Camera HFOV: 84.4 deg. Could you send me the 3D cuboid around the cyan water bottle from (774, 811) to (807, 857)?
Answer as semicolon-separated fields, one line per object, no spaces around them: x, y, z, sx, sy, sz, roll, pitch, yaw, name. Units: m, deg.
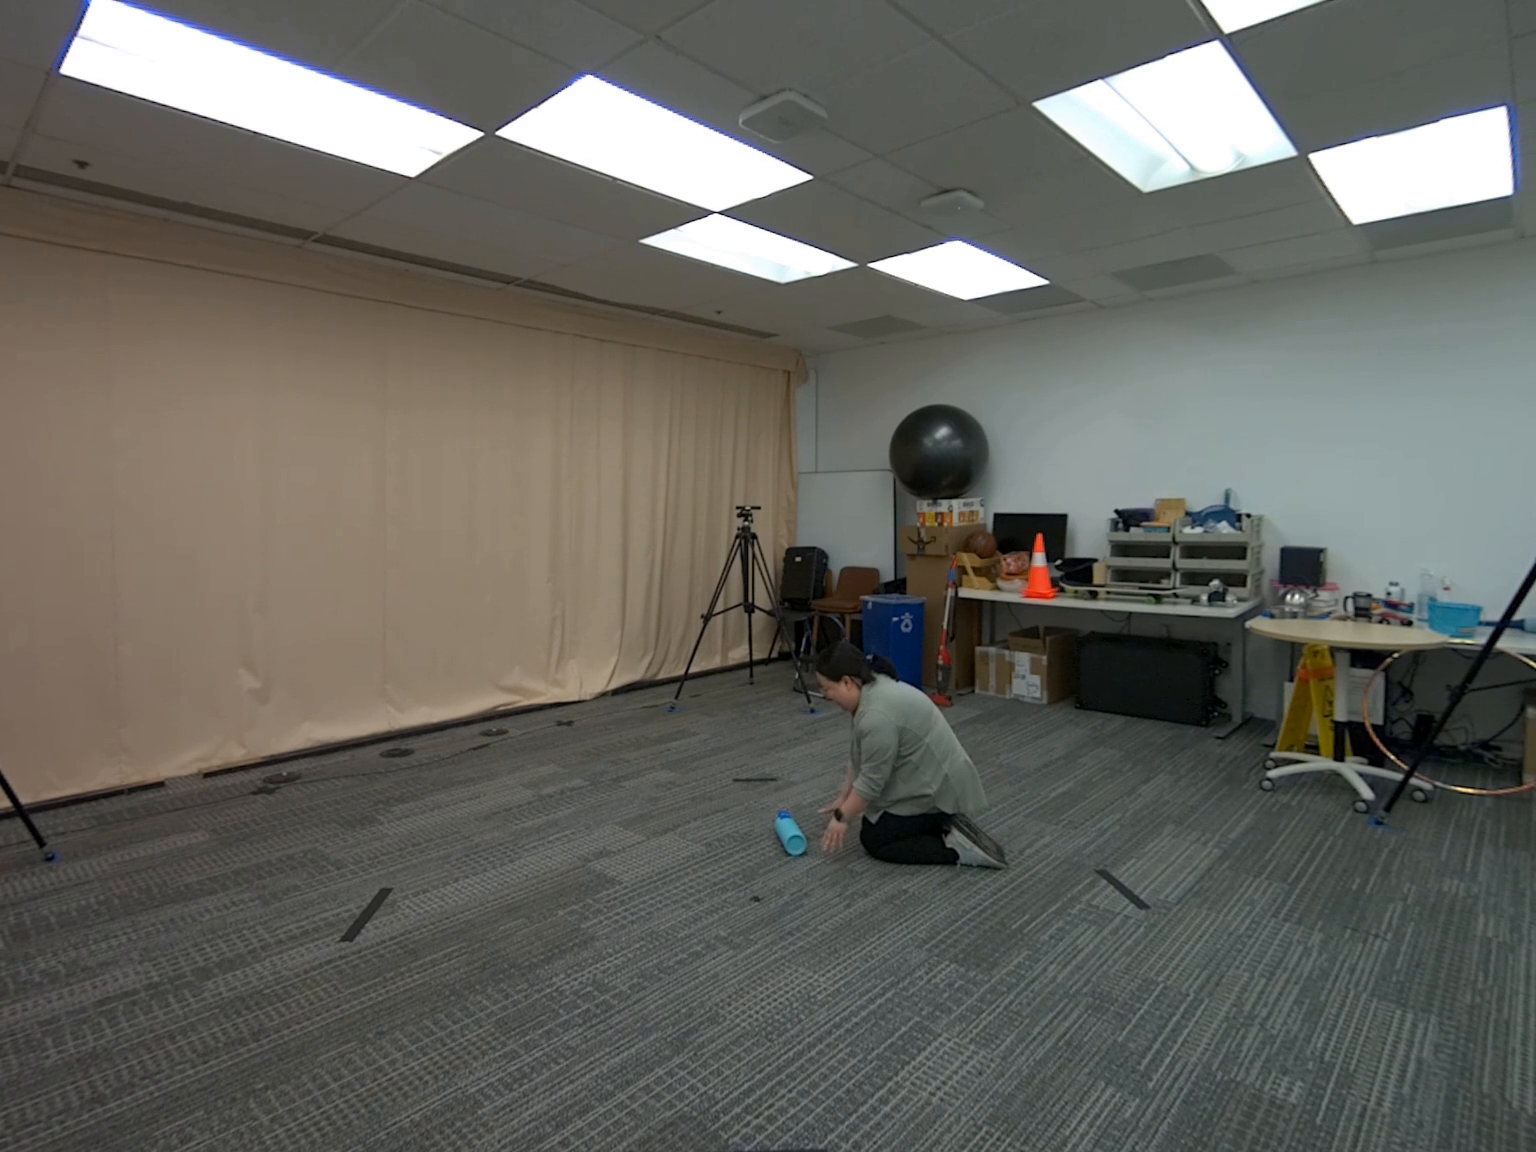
0.088;1.057;3.489;0.091;0.092;0.287;-1;4;-10;cyan water bottle
